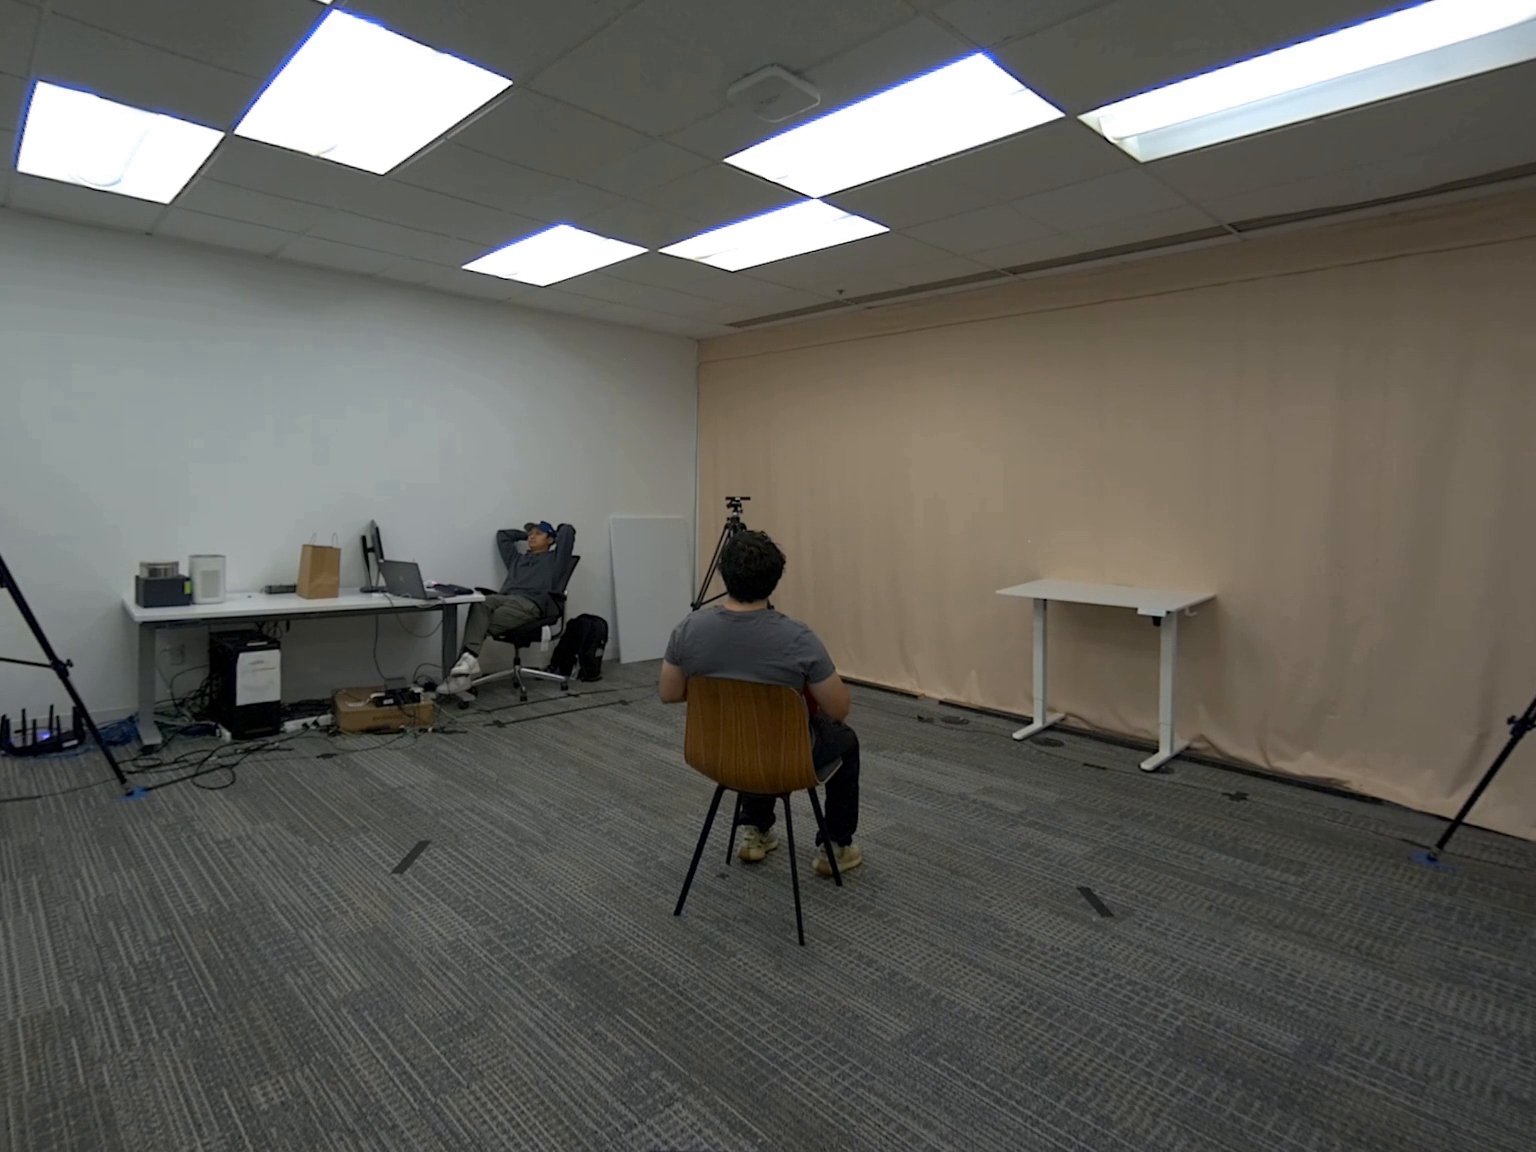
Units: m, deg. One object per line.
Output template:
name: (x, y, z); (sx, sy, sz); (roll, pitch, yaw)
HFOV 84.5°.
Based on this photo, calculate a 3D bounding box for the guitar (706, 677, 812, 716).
guitar: (-0.016, 0.362, 2.998); (0.510, 0.187, 0.071); (9, 47, 35)
